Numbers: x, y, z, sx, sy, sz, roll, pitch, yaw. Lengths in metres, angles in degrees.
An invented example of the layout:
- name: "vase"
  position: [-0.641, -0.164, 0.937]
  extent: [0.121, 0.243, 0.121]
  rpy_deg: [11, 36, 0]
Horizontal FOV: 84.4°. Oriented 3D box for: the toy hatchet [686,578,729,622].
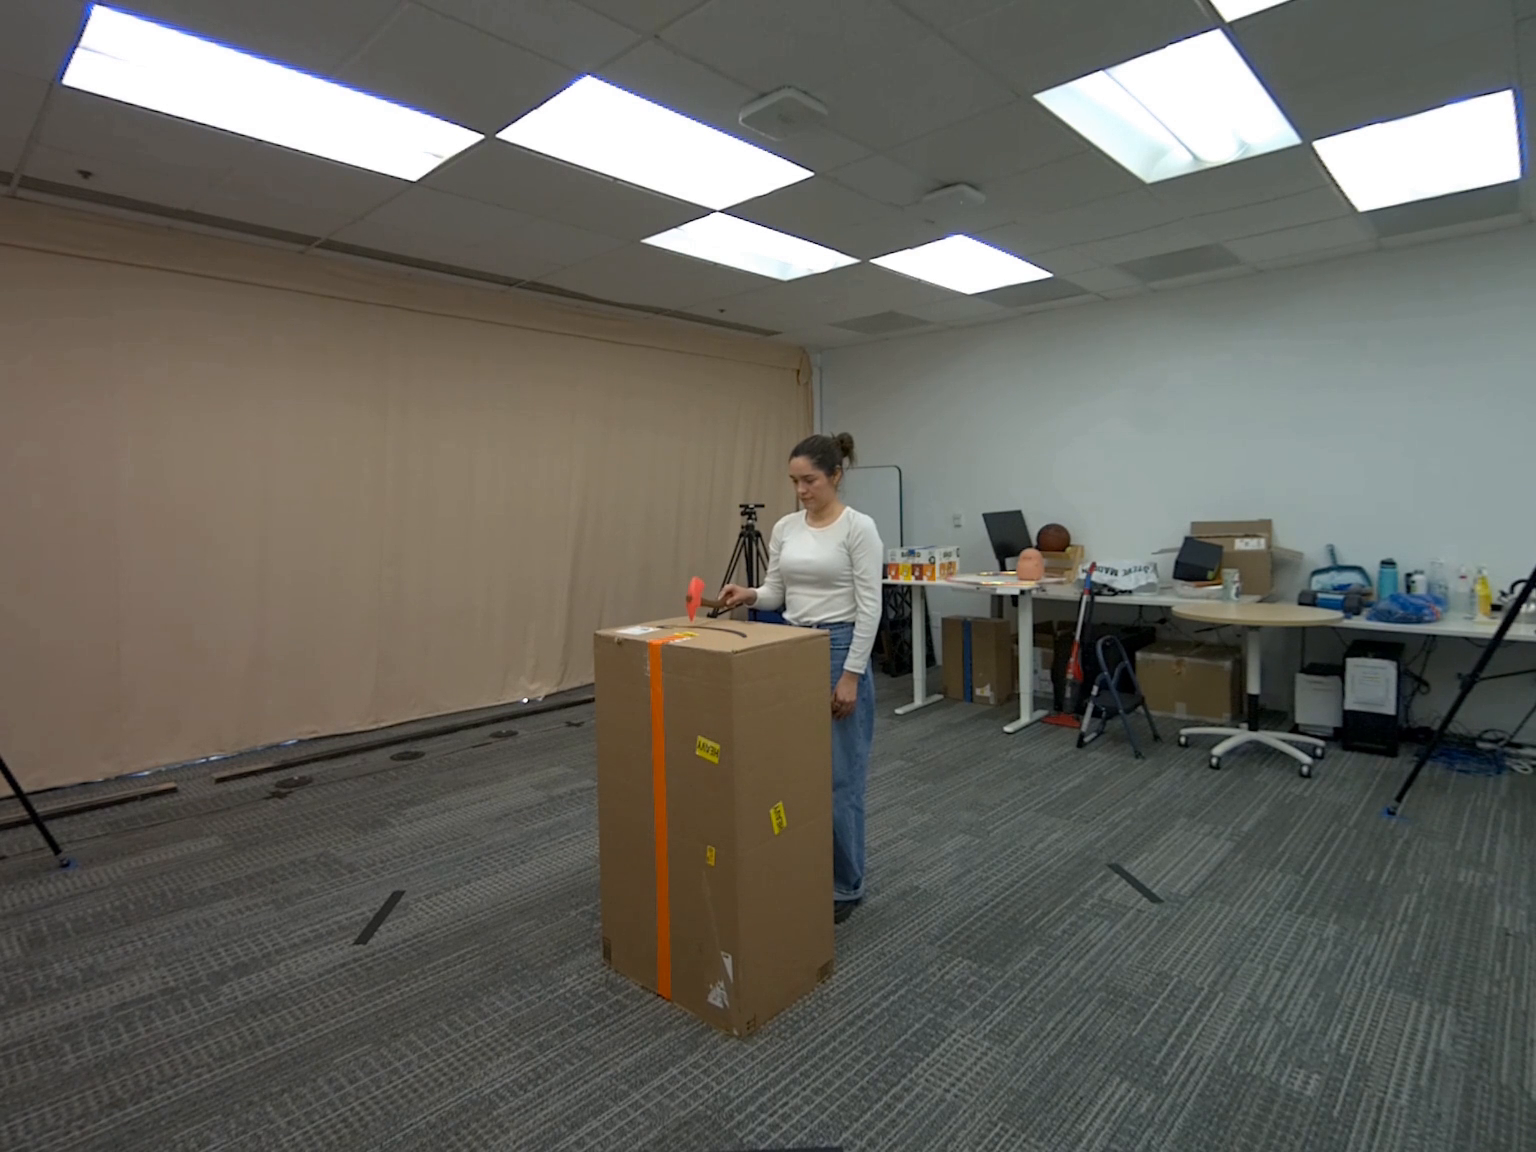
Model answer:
- name: "toy hatchet"
  position: [-0.190, 0.054, 2.675]
  extent: [0.030, 0.130, 0.264]
  rpy_deg: [-4, 7, 27]
